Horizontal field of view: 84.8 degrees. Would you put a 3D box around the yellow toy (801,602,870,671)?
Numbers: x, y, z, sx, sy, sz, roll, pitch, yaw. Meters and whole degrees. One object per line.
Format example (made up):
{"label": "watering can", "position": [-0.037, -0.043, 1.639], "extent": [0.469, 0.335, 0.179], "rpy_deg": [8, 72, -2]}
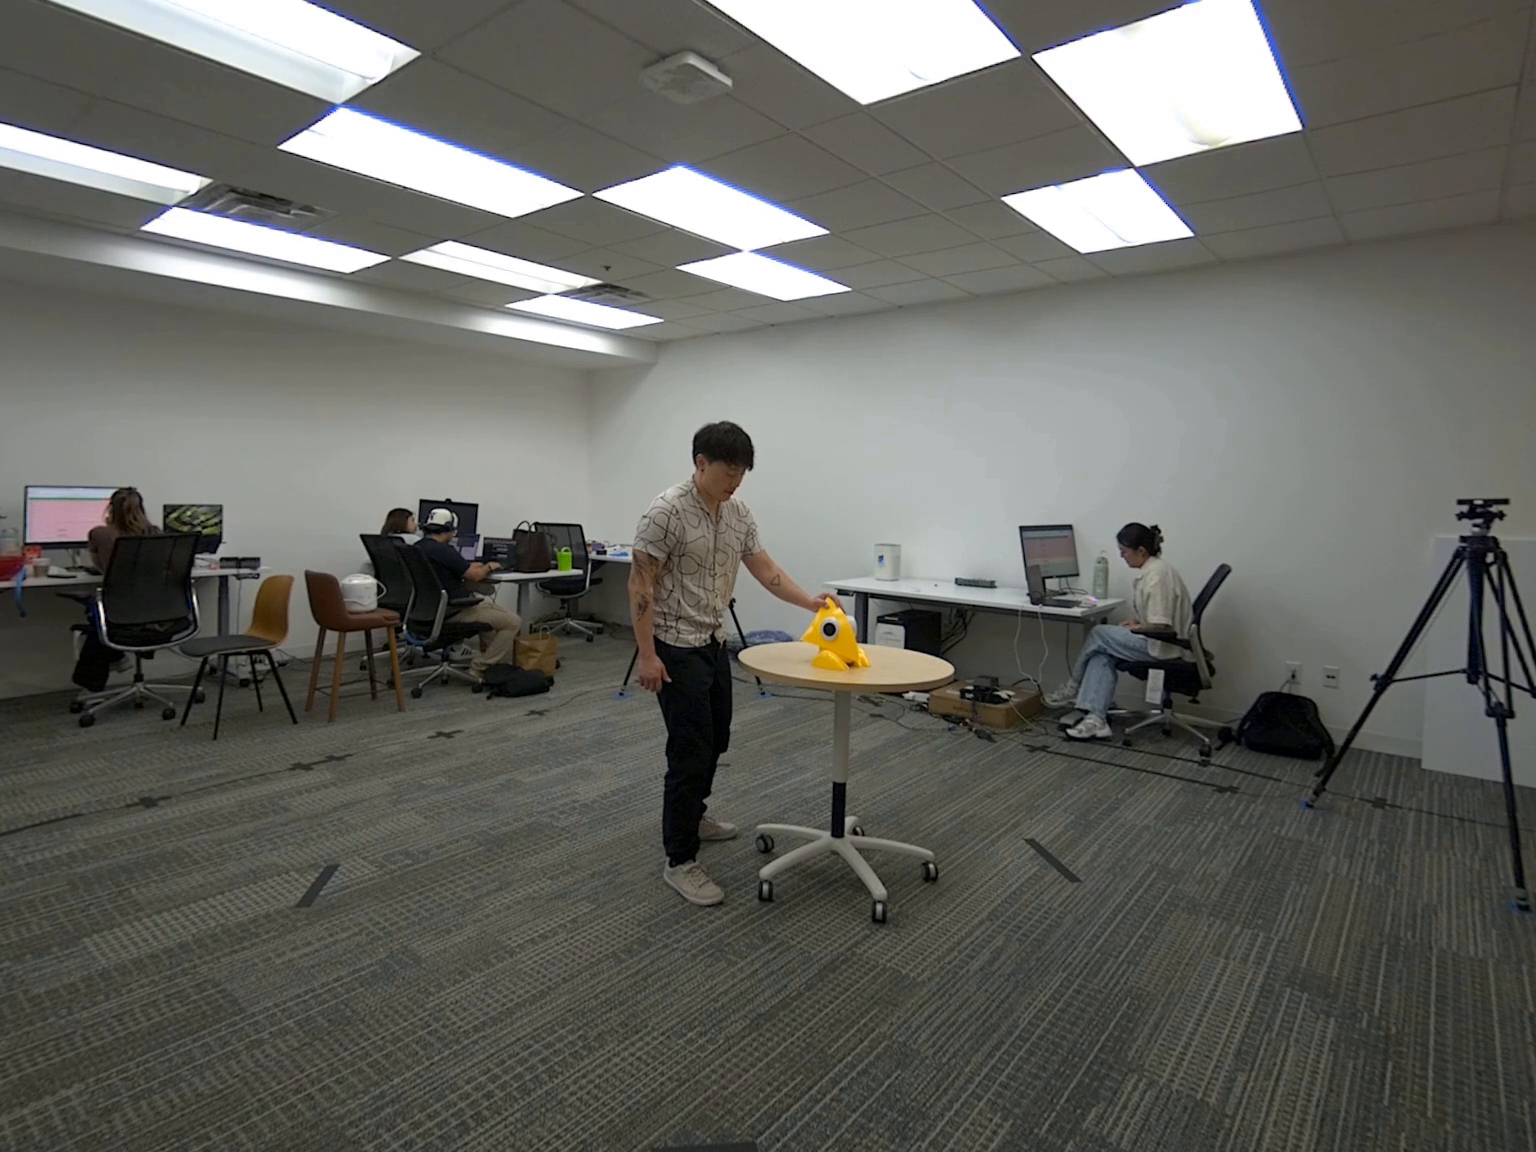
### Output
{"label": "yellow toy", "position": [0.244, 0.197, 2.980], "extent": [0.198, 0.230, 0.200], "rpy_deg": [-2, 5, -42]}
